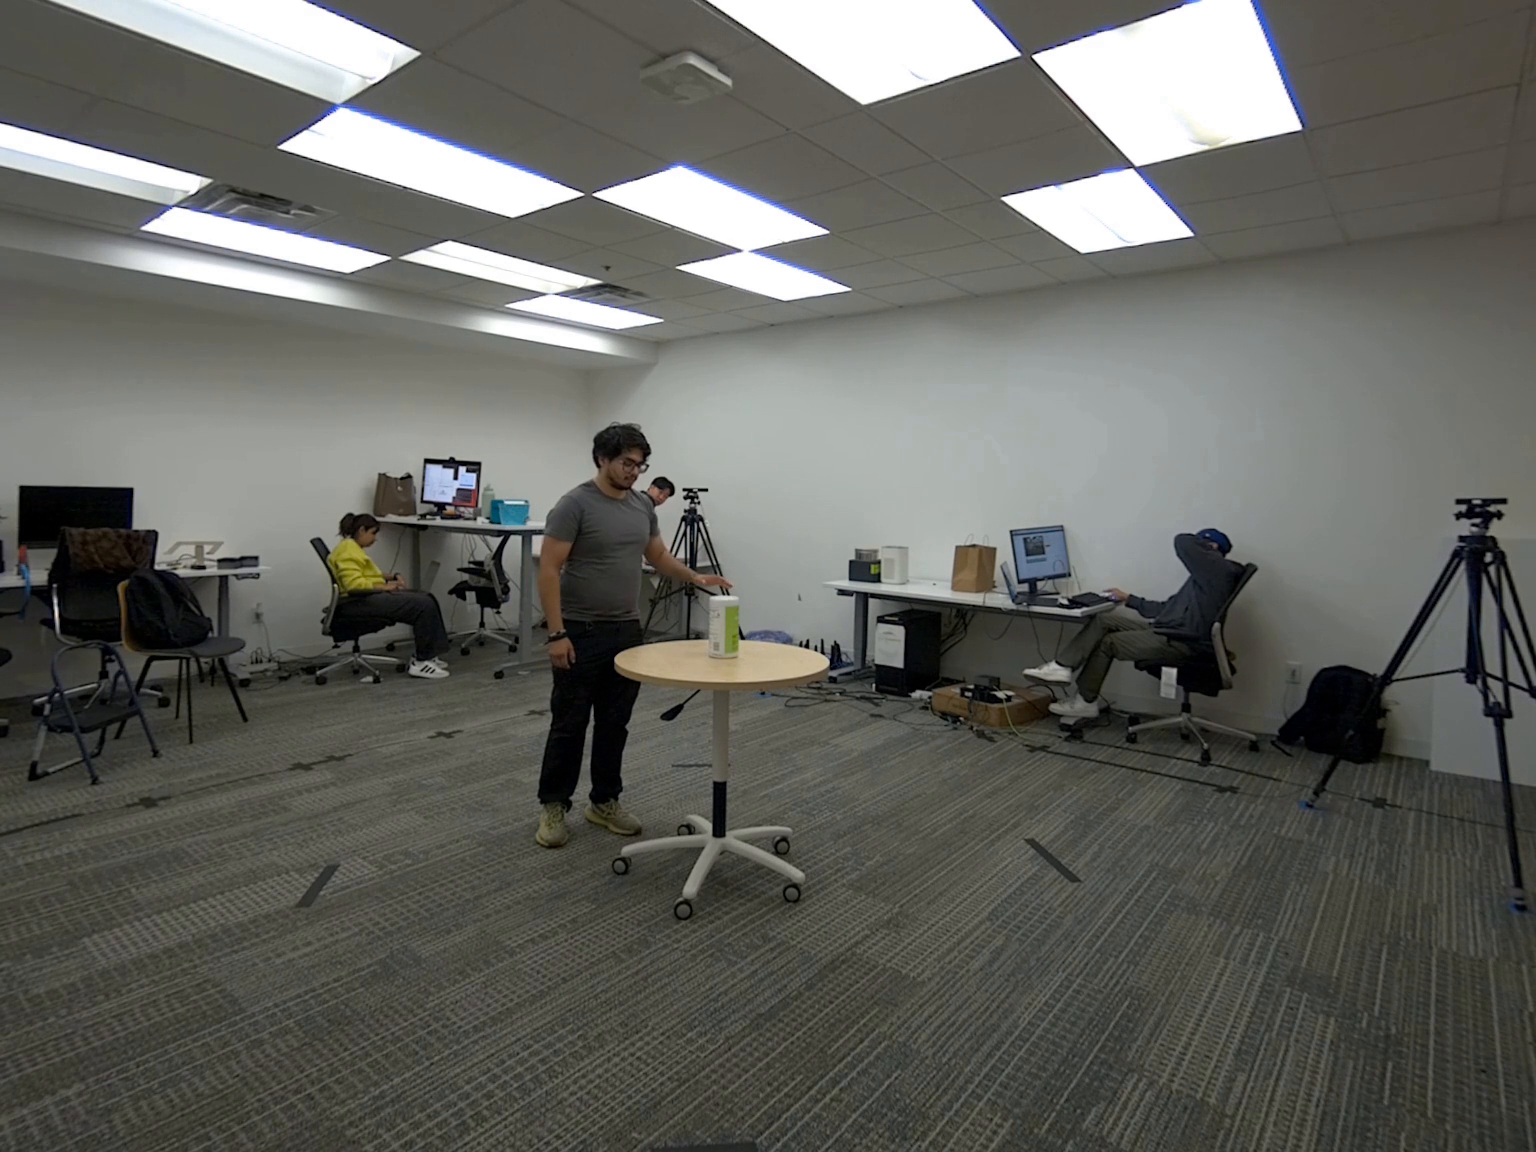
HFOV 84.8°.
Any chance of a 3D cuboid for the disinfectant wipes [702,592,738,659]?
[{"bbox_3d":[-0.177,0.178,3.074,0.118,0.217,0.118,-2,3,-2],"label":"disinfectant wipes"}]
